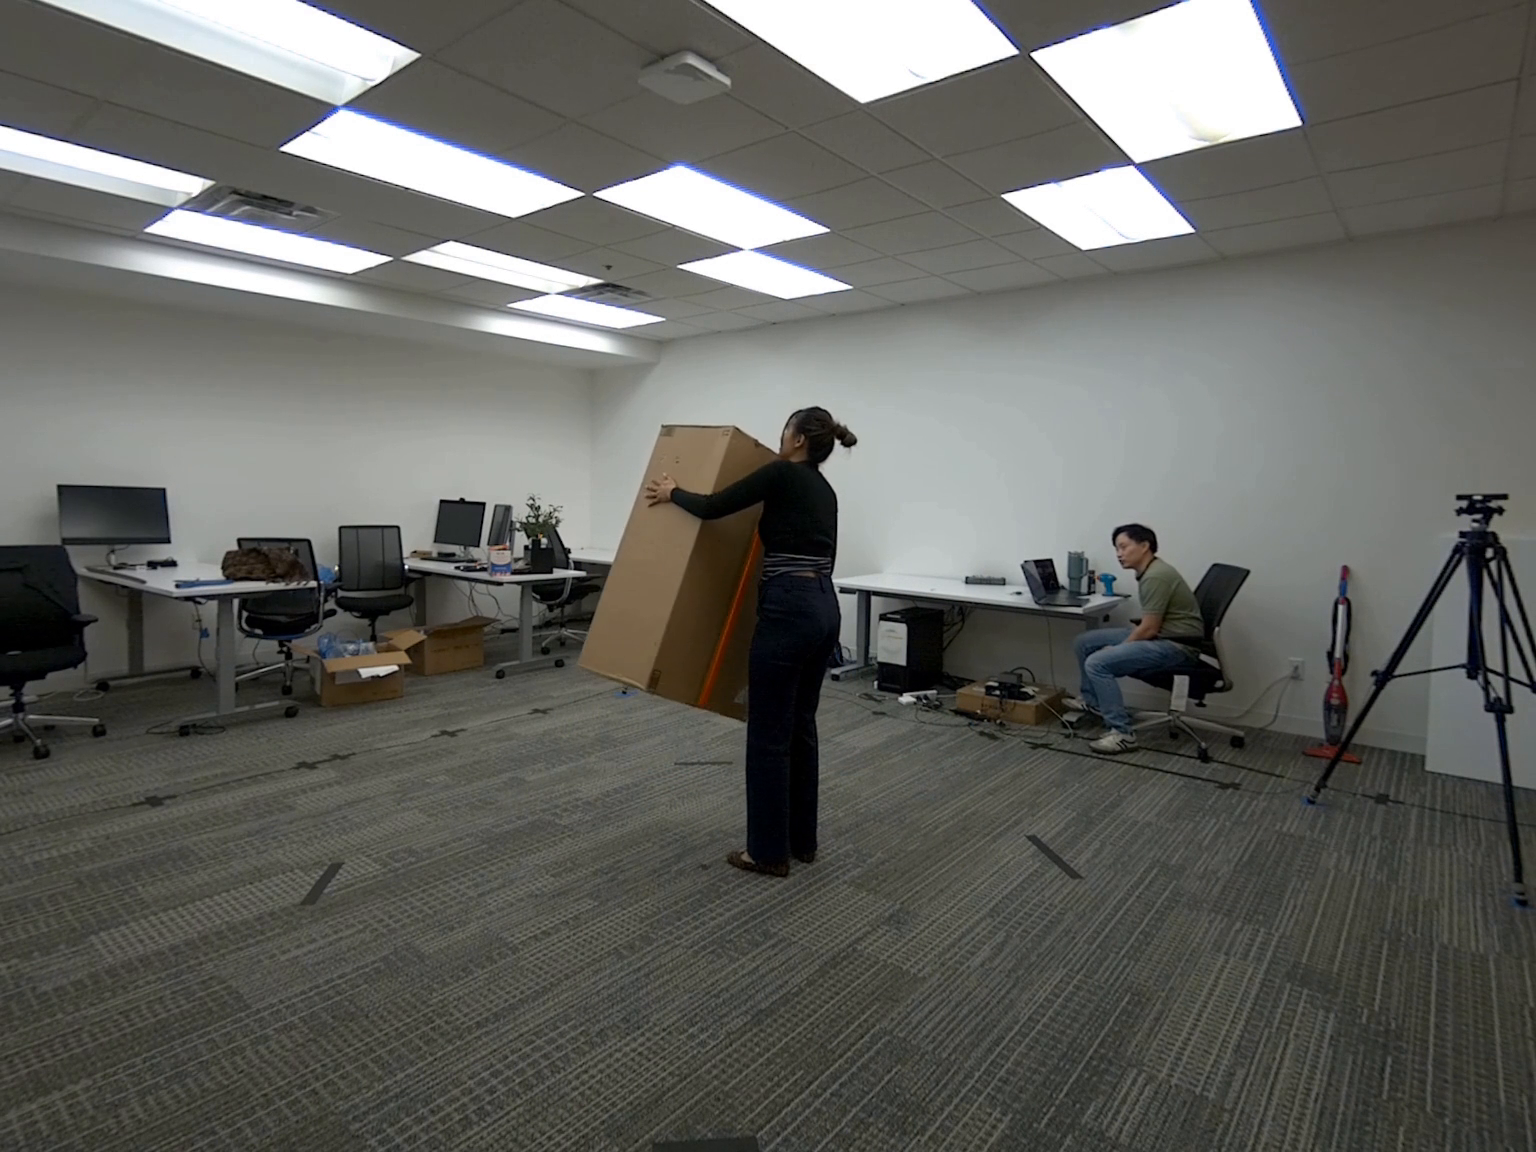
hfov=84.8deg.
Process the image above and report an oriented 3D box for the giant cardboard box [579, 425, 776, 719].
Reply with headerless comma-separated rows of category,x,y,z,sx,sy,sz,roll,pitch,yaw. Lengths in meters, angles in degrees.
giant cardboard box,-0.269,-0.021,3.394,0.441,1.032,0.554,8,-14,43
